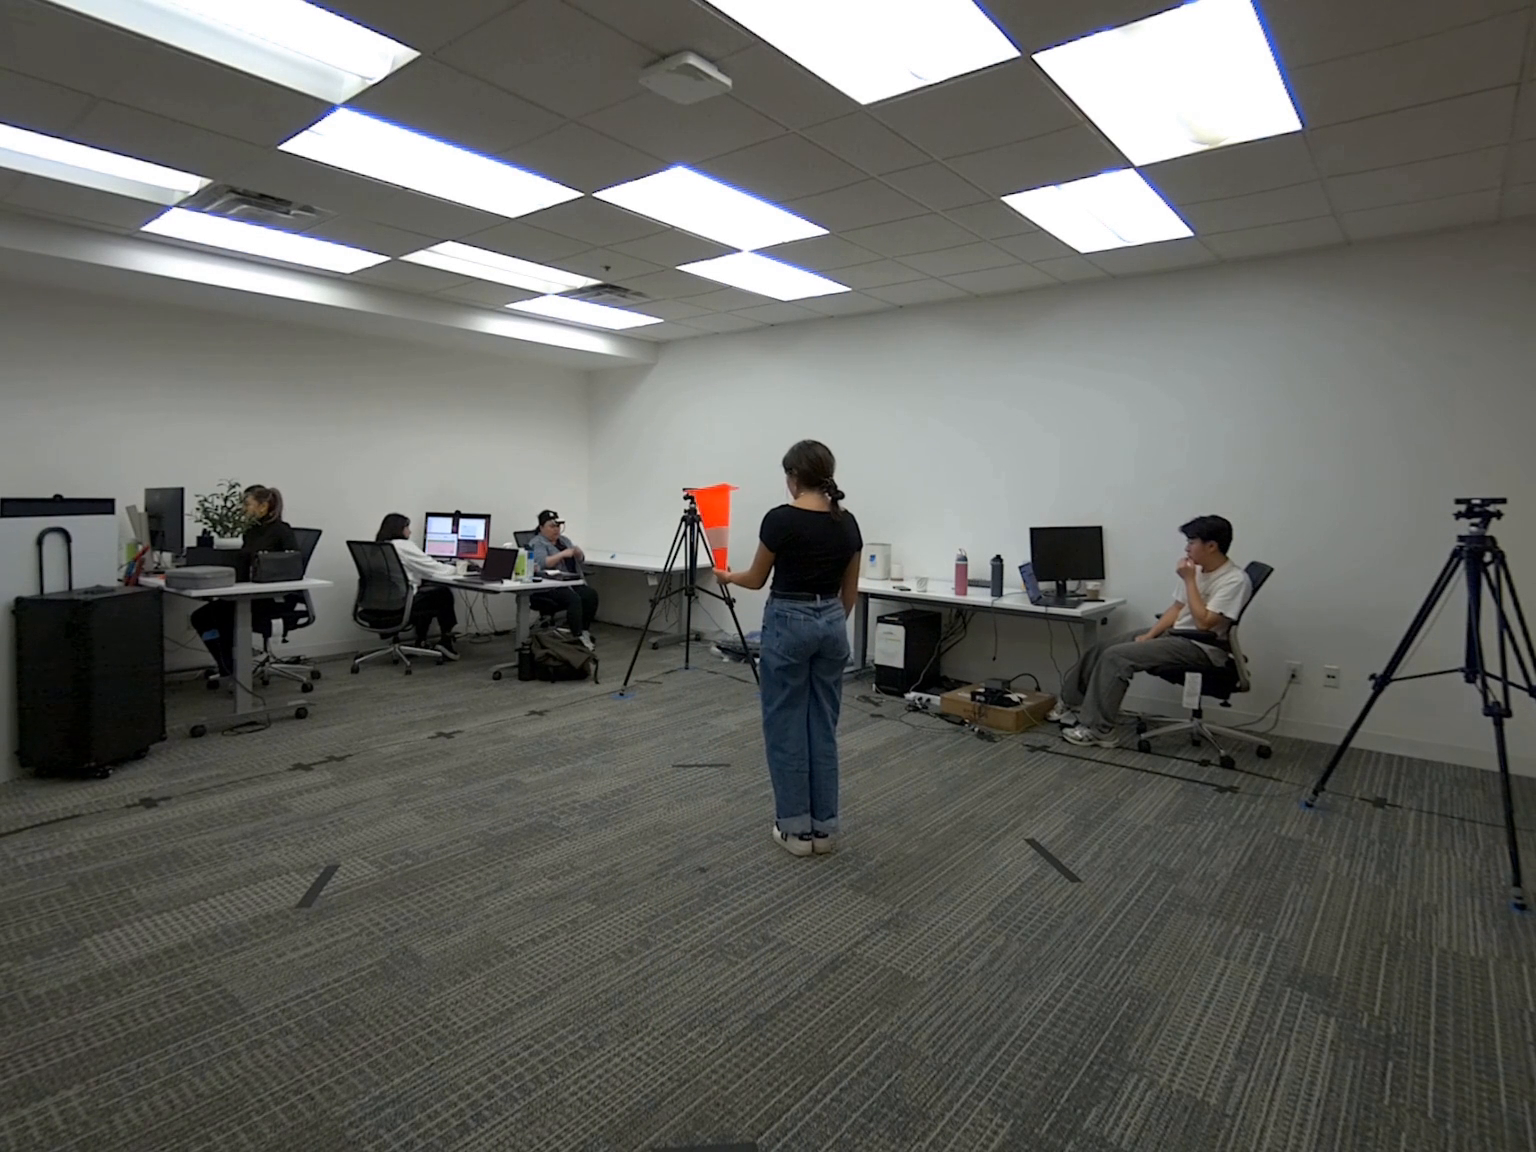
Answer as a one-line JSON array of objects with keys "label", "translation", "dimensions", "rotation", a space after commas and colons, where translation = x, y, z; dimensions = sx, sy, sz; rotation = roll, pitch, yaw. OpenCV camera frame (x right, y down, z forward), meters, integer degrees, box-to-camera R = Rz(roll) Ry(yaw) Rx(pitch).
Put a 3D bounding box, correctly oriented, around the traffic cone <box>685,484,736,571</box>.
[{"label": "traffic cone", "translation": [-0.216, -0.191, 3.649], "dimensions": [0.209, 0.386, 0.198], "rotation": [-11, -6, 22]}]
